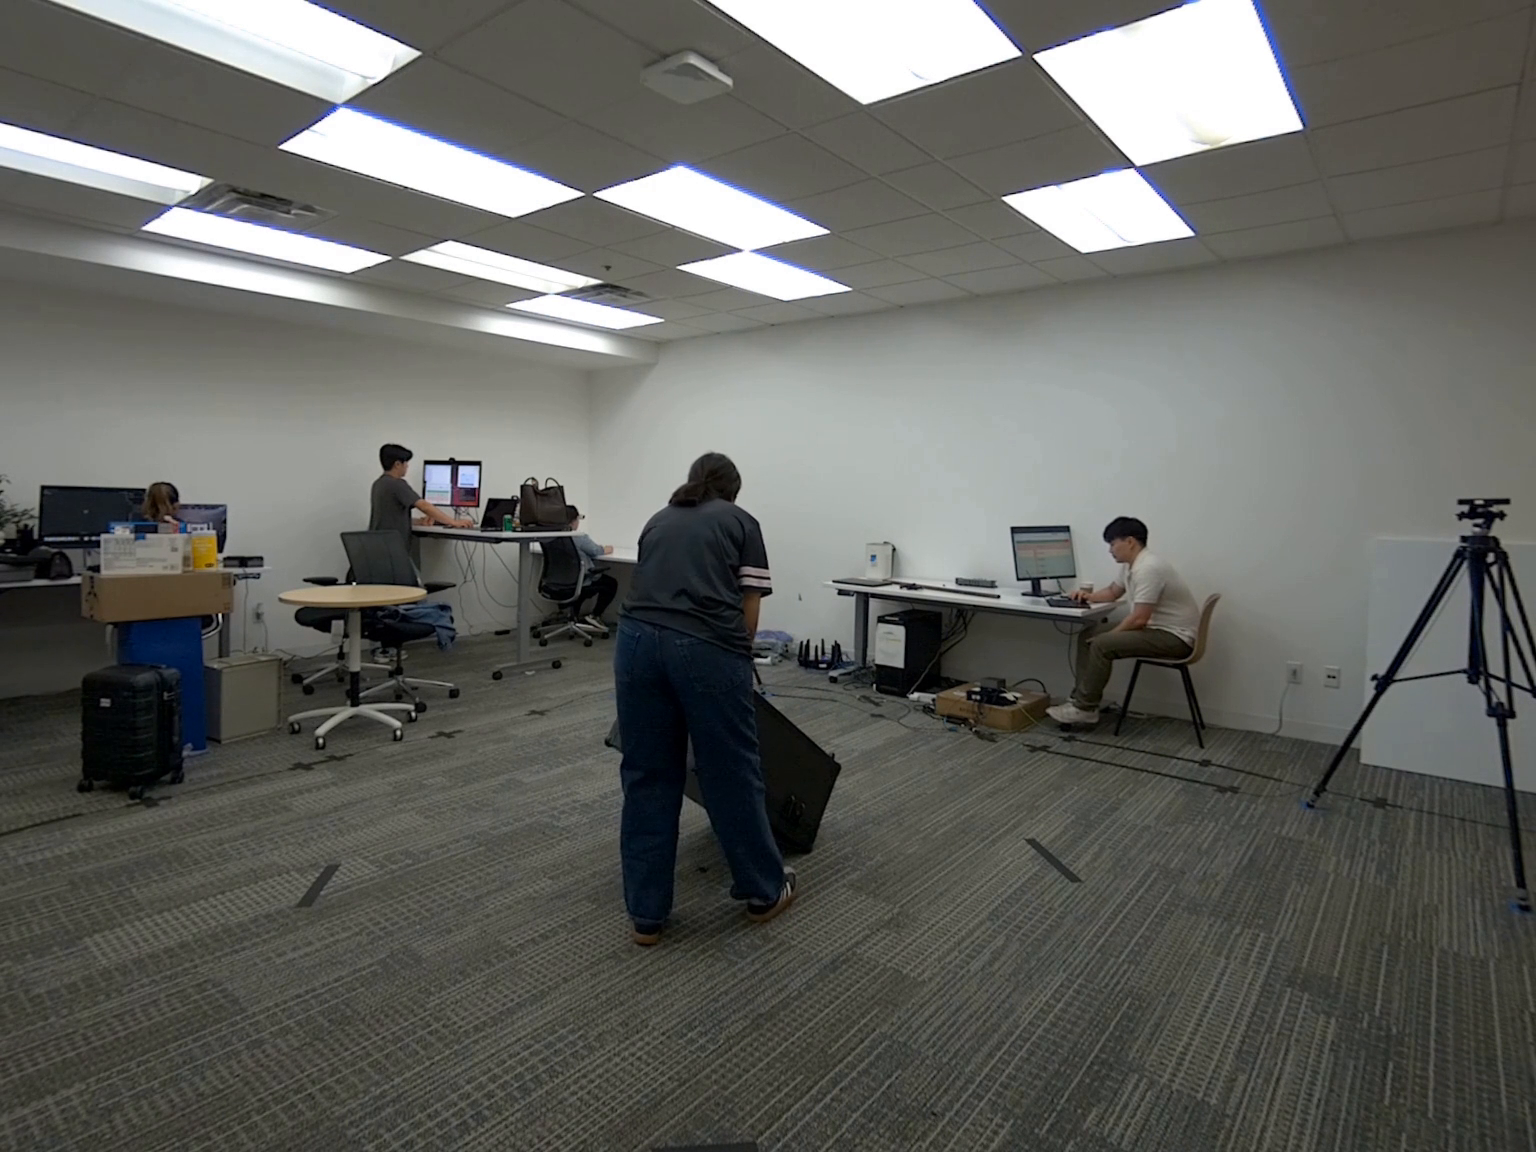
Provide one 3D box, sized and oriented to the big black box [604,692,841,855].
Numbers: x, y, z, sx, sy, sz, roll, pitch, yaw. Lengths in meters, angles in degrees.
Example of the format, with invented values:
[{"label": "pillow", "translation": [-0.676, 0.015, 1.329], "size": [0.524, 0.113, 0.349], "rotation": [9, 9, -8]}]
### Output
[{"label": "big black box", "translation": [-0.145, 0.700, 3.284], "size": [0.541, 0.389, 0.832], "rotation": [3, -31, 40]}]
